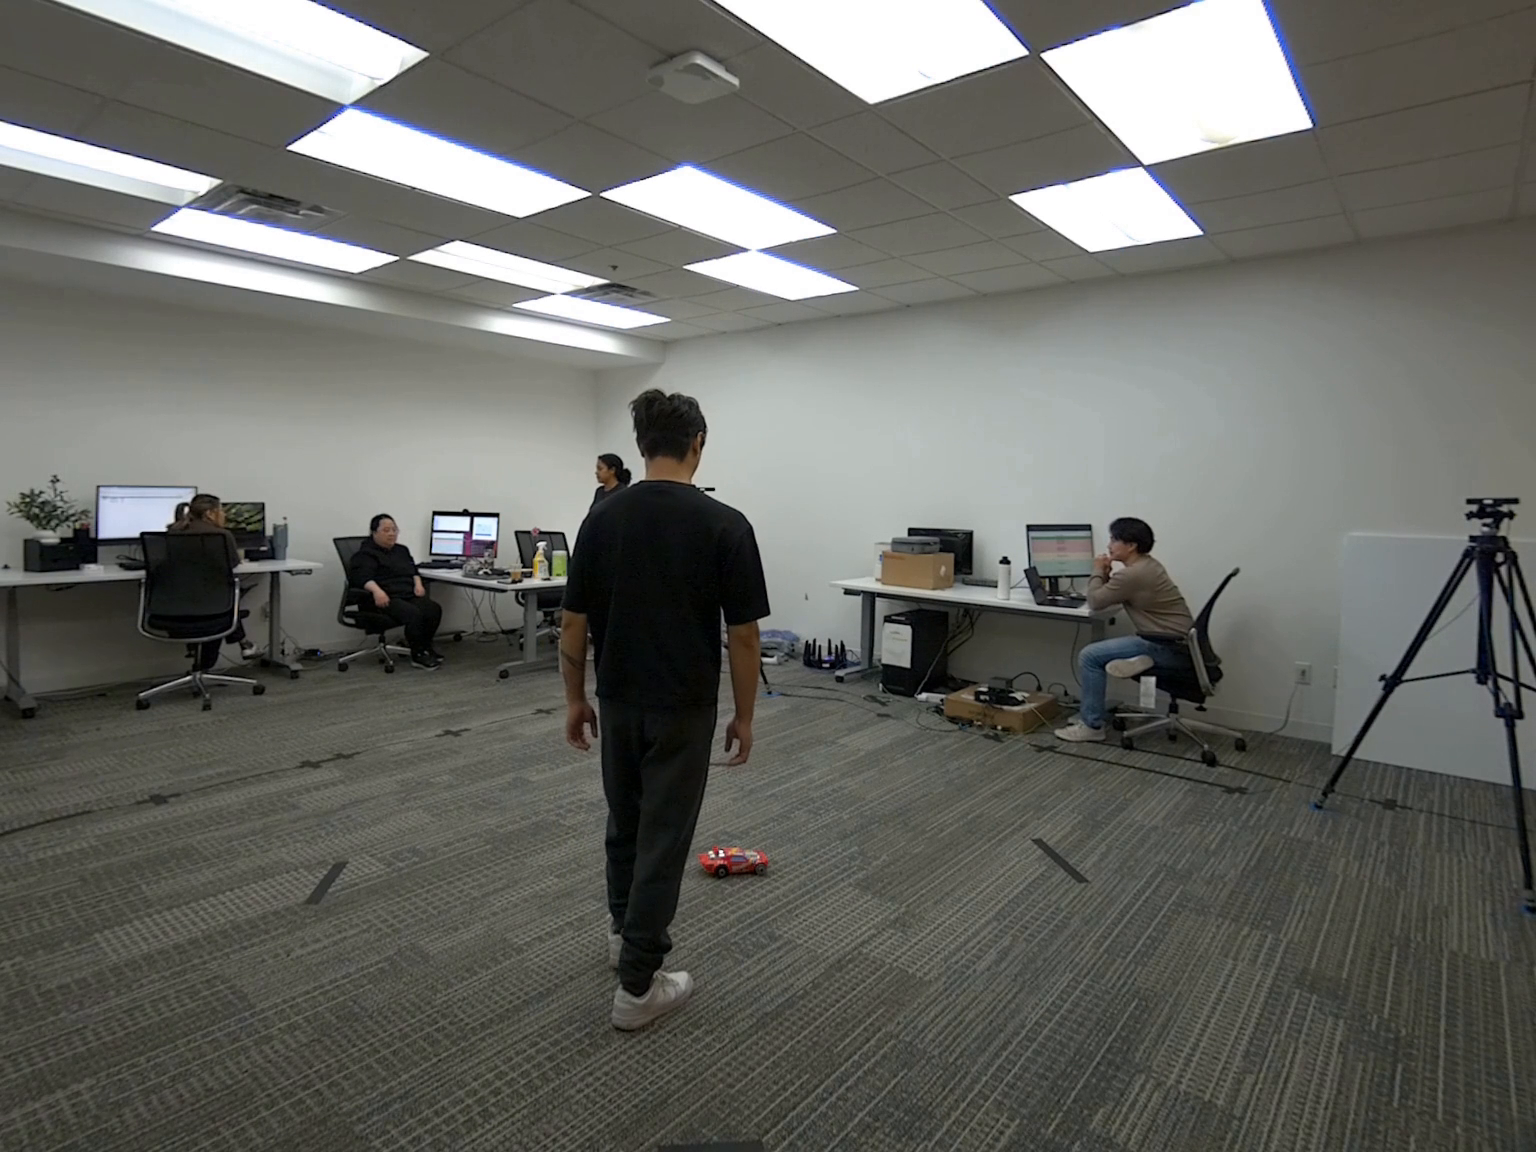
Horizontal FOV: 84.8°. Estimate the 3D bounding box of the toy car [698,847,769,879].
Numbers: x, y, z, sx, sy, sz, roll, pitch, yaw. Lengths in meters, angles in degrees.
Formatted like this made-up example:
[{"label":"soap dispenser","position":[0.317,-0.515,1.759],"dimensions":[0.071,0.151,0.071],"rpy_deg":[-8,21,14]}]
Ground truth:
[{"label":"toy car","position":[-0.142,1.038,3.093],"dimensions":[0.251,0.083,0.132],"rpy_deg":[12,1,-12]}]
